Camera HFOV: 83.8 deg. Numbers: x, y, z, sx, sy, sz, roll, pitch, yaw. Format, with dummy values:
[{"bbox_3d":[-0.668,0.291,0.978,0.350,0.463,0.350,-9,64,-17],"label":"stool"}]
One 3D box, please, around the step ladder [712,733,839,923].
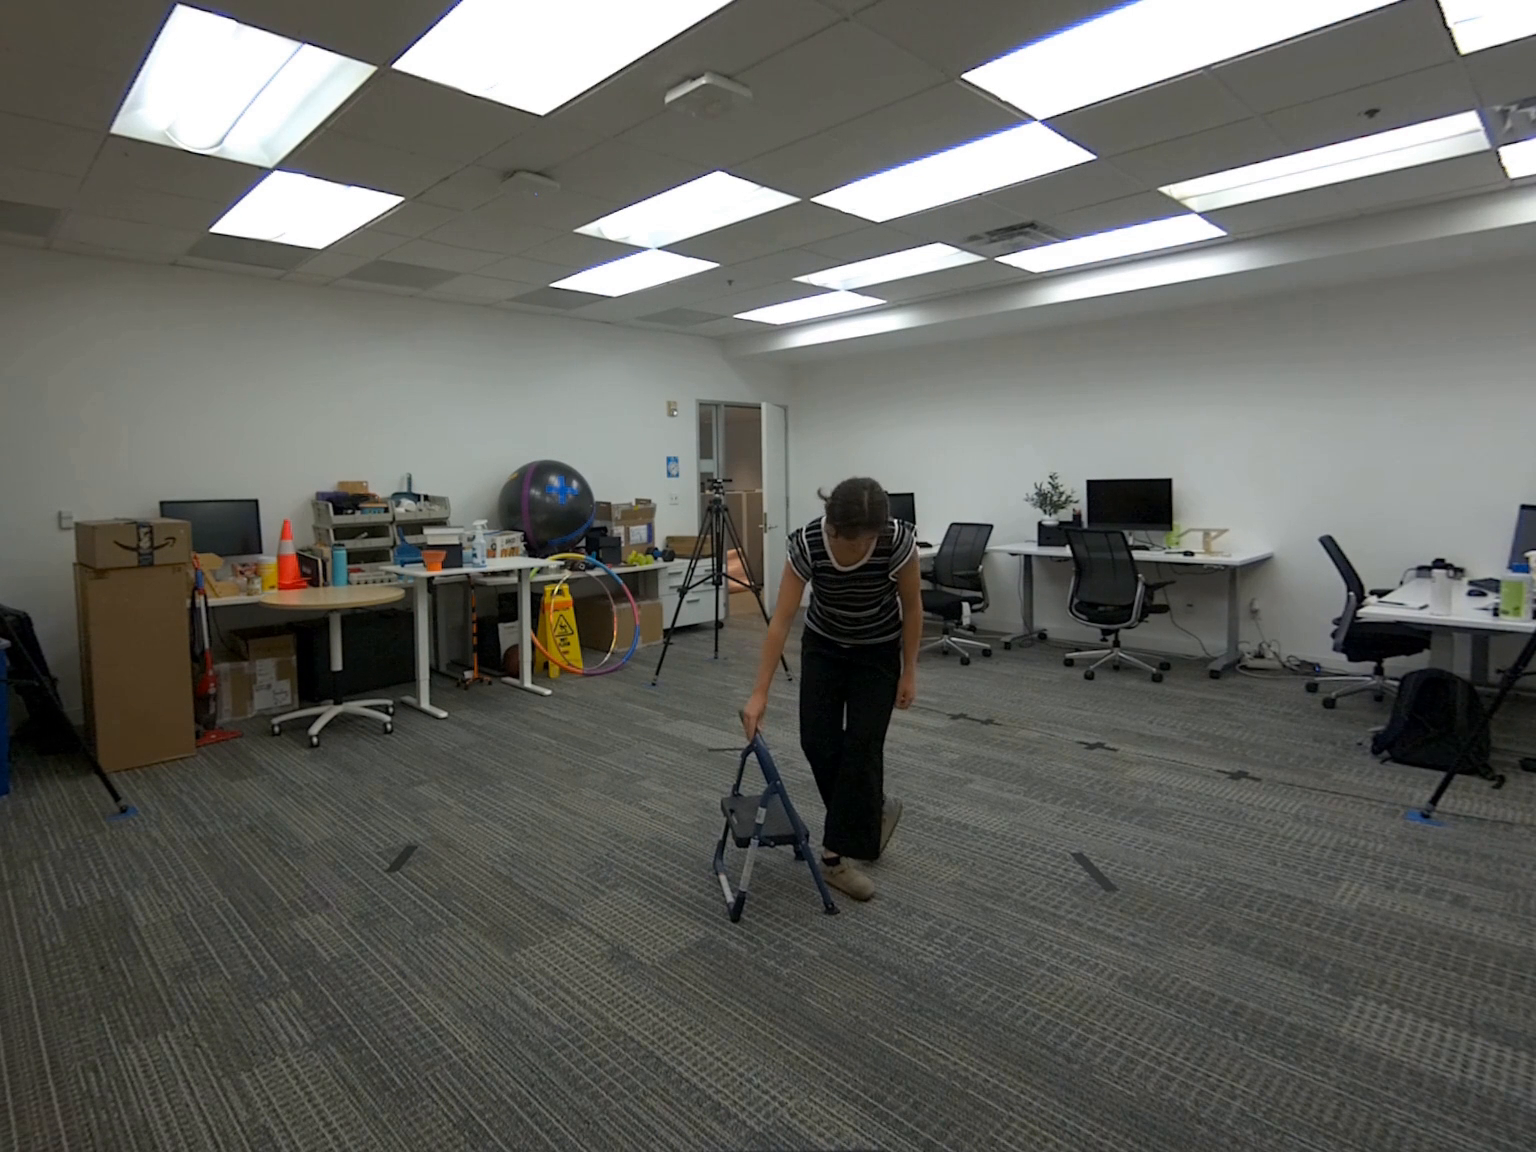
[{"bbox_3d":[0.009,0.766,2.899,0.346,0.604,0.437,-1,4,-11],"label":"step ladder"}]
